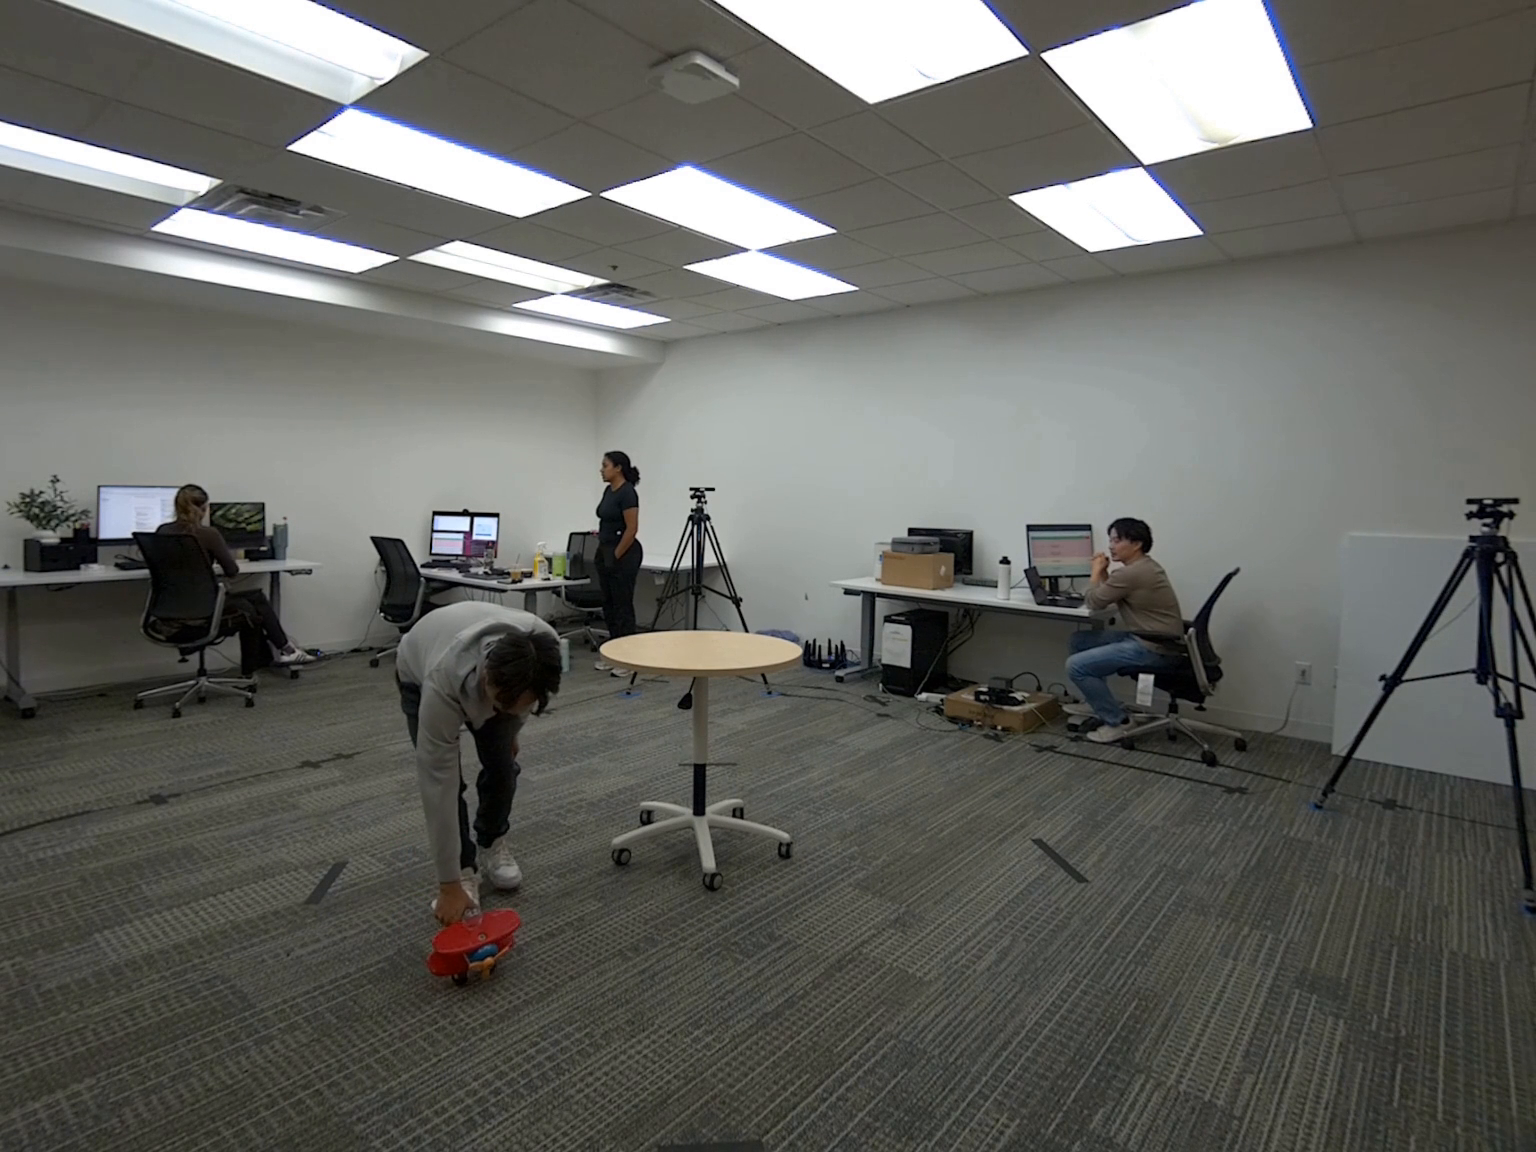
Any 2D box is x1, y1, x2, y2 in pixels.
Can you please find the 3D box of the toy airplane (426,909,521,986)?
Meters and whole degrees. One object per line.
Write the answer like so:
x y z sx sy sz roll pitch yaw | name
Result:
-0.868 1.016 2.395 0.262 0.155 0.250 36 30 5 | toy airplane
